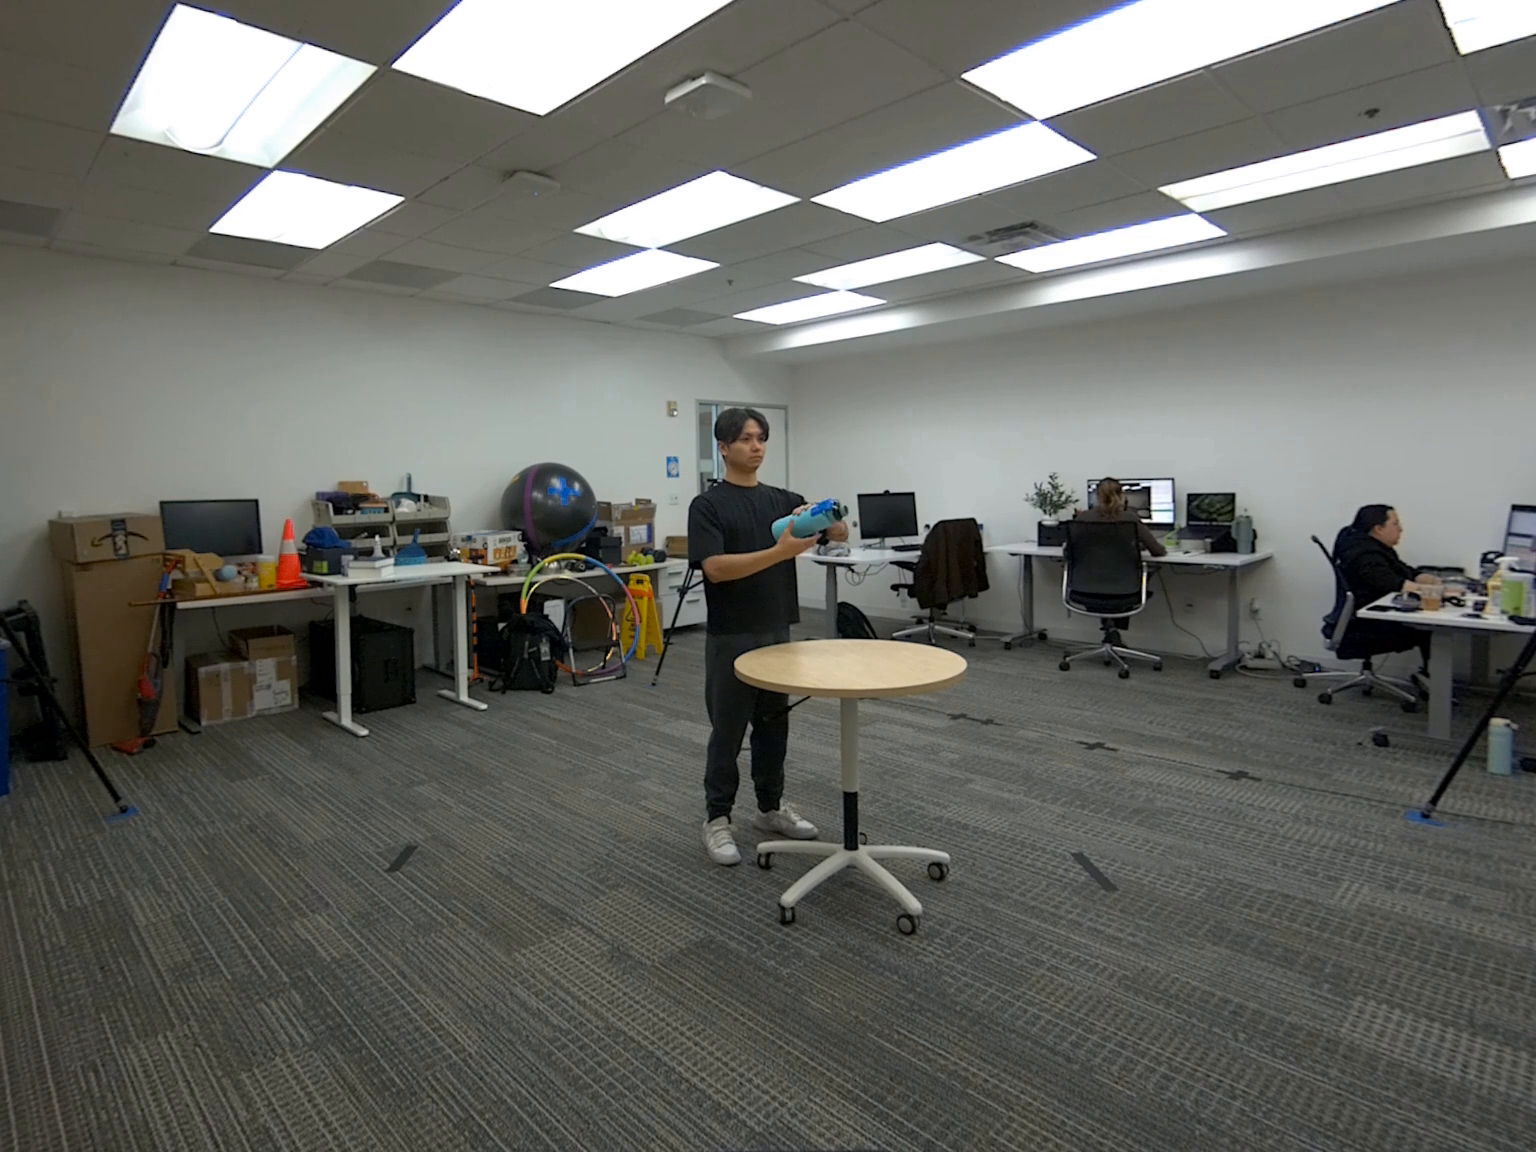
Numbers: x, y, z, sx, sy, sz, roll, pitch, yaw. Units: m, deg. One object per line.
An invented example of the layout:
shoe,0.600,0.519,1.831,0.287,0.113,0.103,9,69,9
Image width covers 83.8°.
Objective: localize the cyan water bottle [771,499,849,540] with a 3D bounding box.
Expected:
cyan water bottle,0.153,-0.189,3.007,0.288,0.093,0.090,-21,-8,36
